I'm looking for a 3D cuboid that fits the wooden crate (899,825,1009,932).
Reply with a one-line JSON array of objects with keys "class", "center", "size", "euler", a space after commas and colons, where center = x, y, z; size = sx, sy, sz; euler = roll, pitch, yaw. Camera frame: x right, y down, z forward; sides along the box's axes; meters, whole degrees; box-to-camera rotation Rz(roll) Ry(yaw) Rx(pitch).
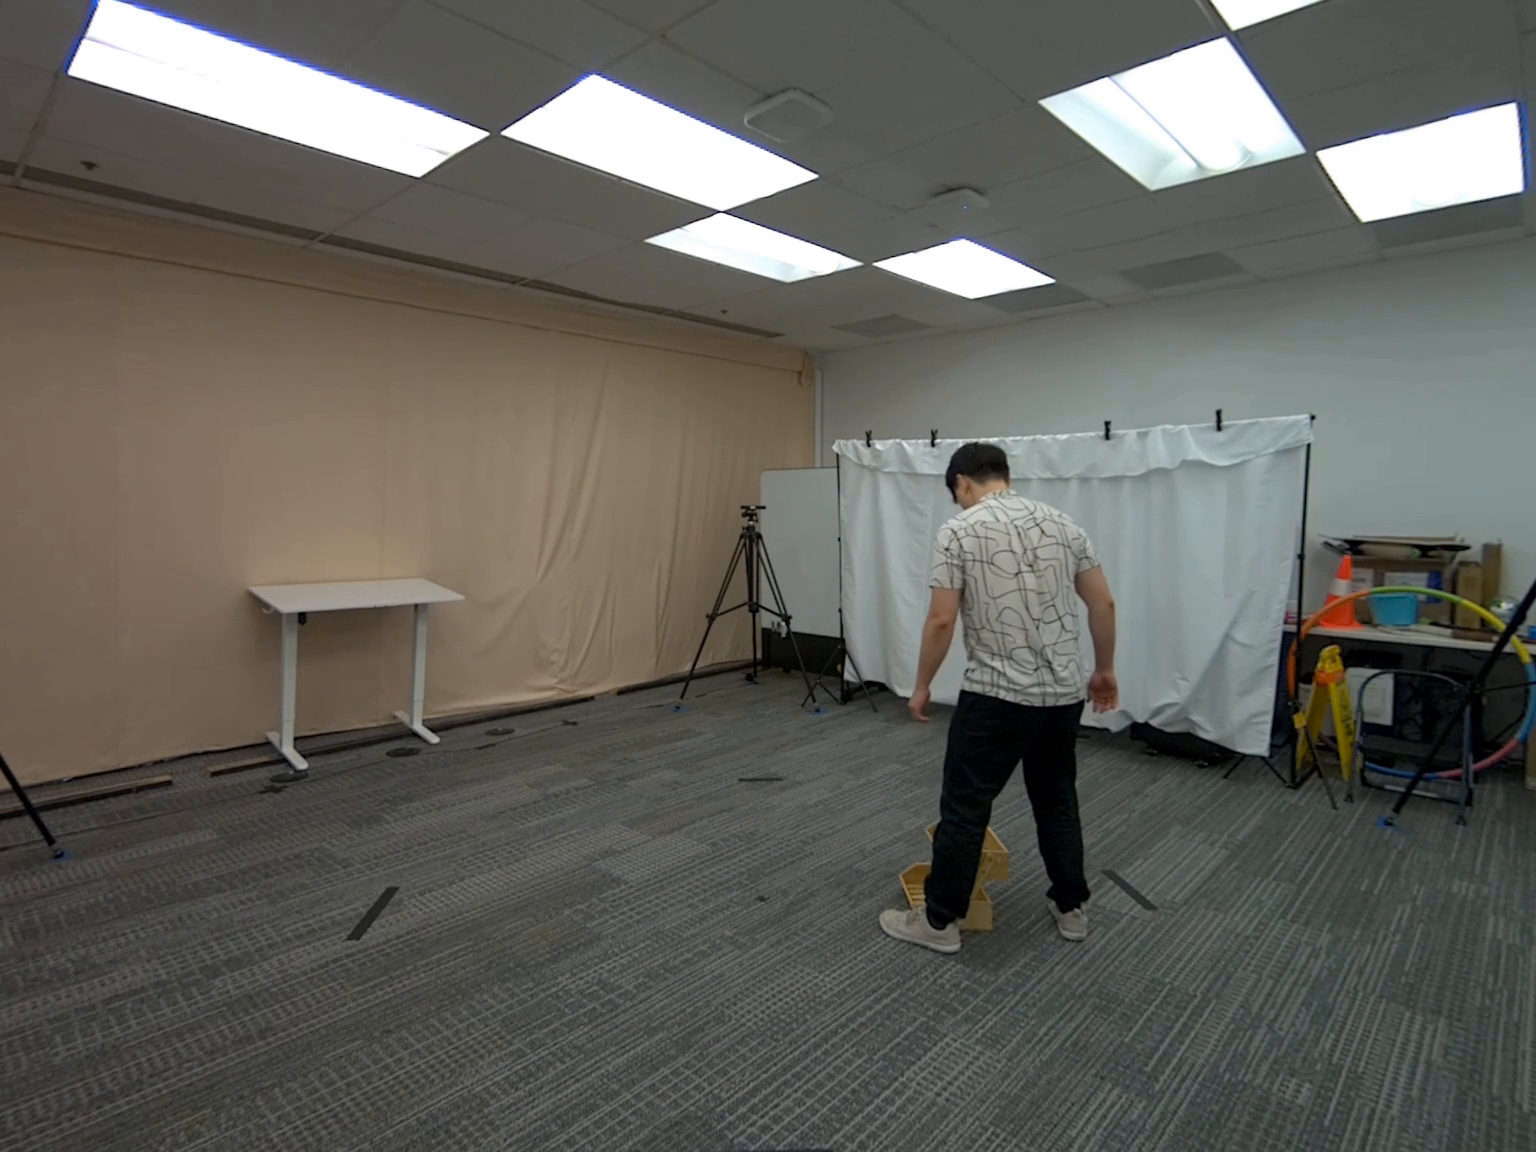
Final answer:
[{"class": "wooden crate", "center": [0.632, 1.017, 2.906], "size": [0.302, 0.272, 0.325], "euler": [0, 5, 0]}]
